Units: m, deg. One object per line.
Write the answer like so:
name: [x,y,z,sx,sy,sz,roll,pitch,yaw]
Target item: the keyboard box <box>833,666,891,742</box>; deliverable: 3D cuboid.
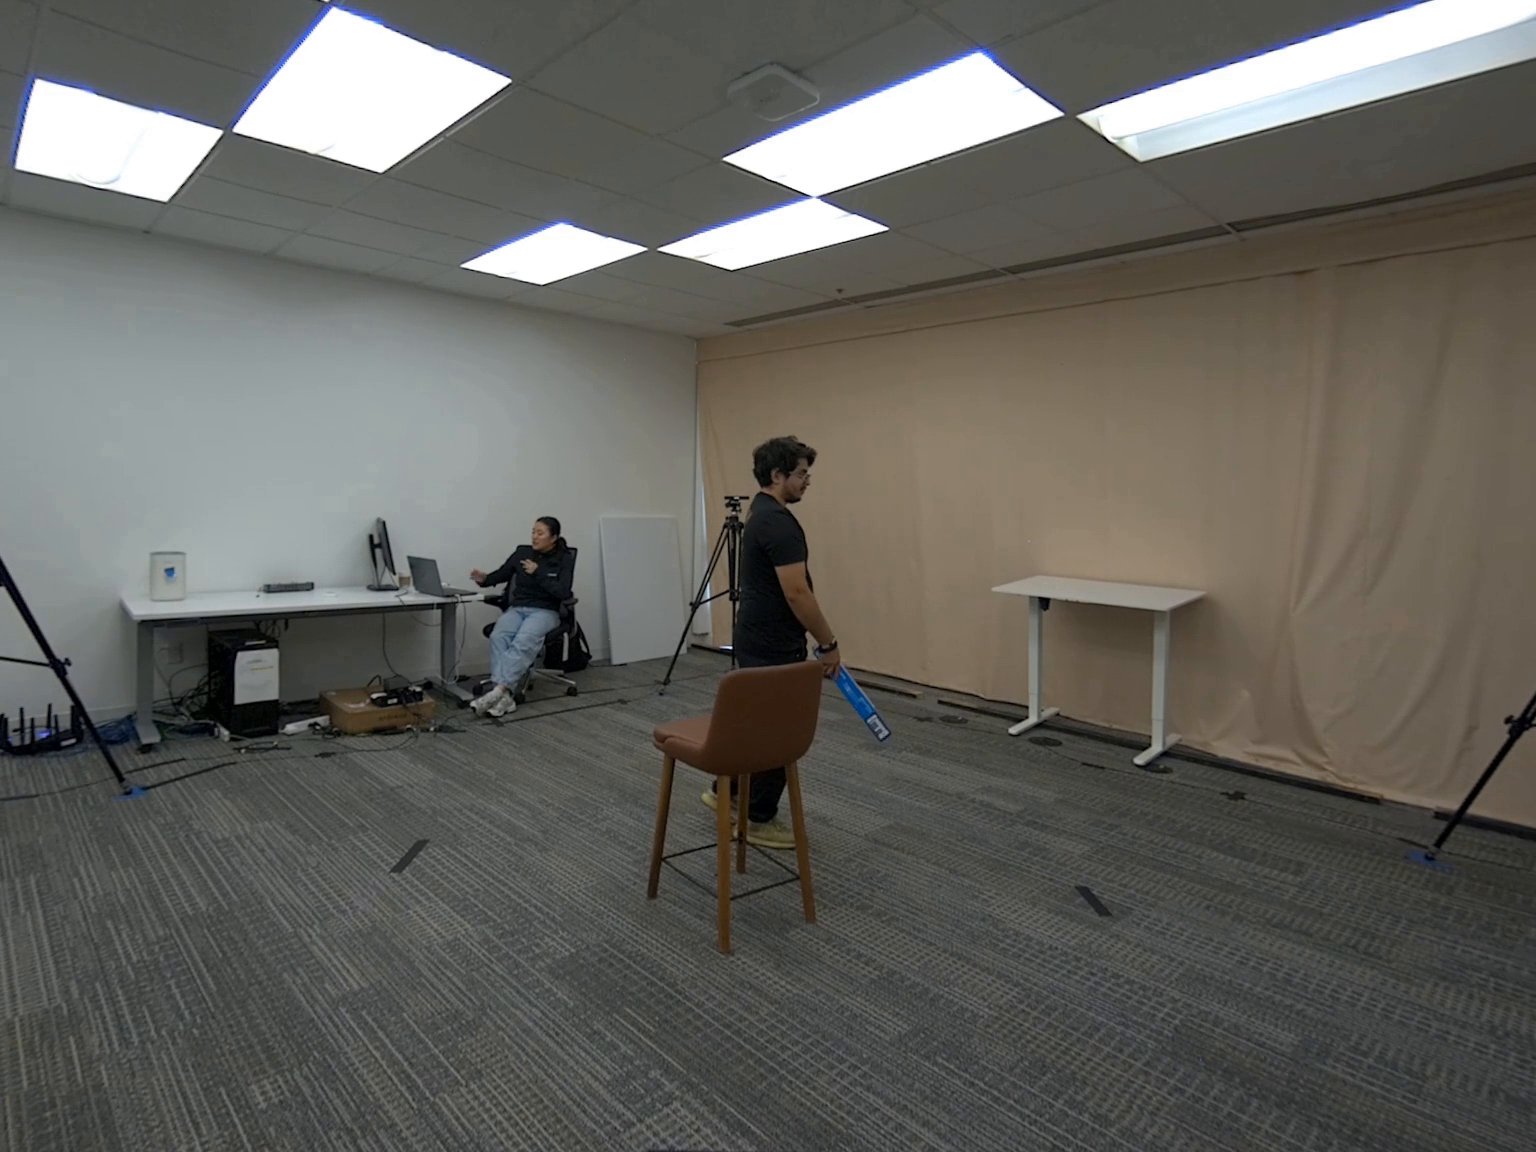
keyboard box: [0.325,0.457,3.370,0.059,0.440,0.174,-38,-6,4]
